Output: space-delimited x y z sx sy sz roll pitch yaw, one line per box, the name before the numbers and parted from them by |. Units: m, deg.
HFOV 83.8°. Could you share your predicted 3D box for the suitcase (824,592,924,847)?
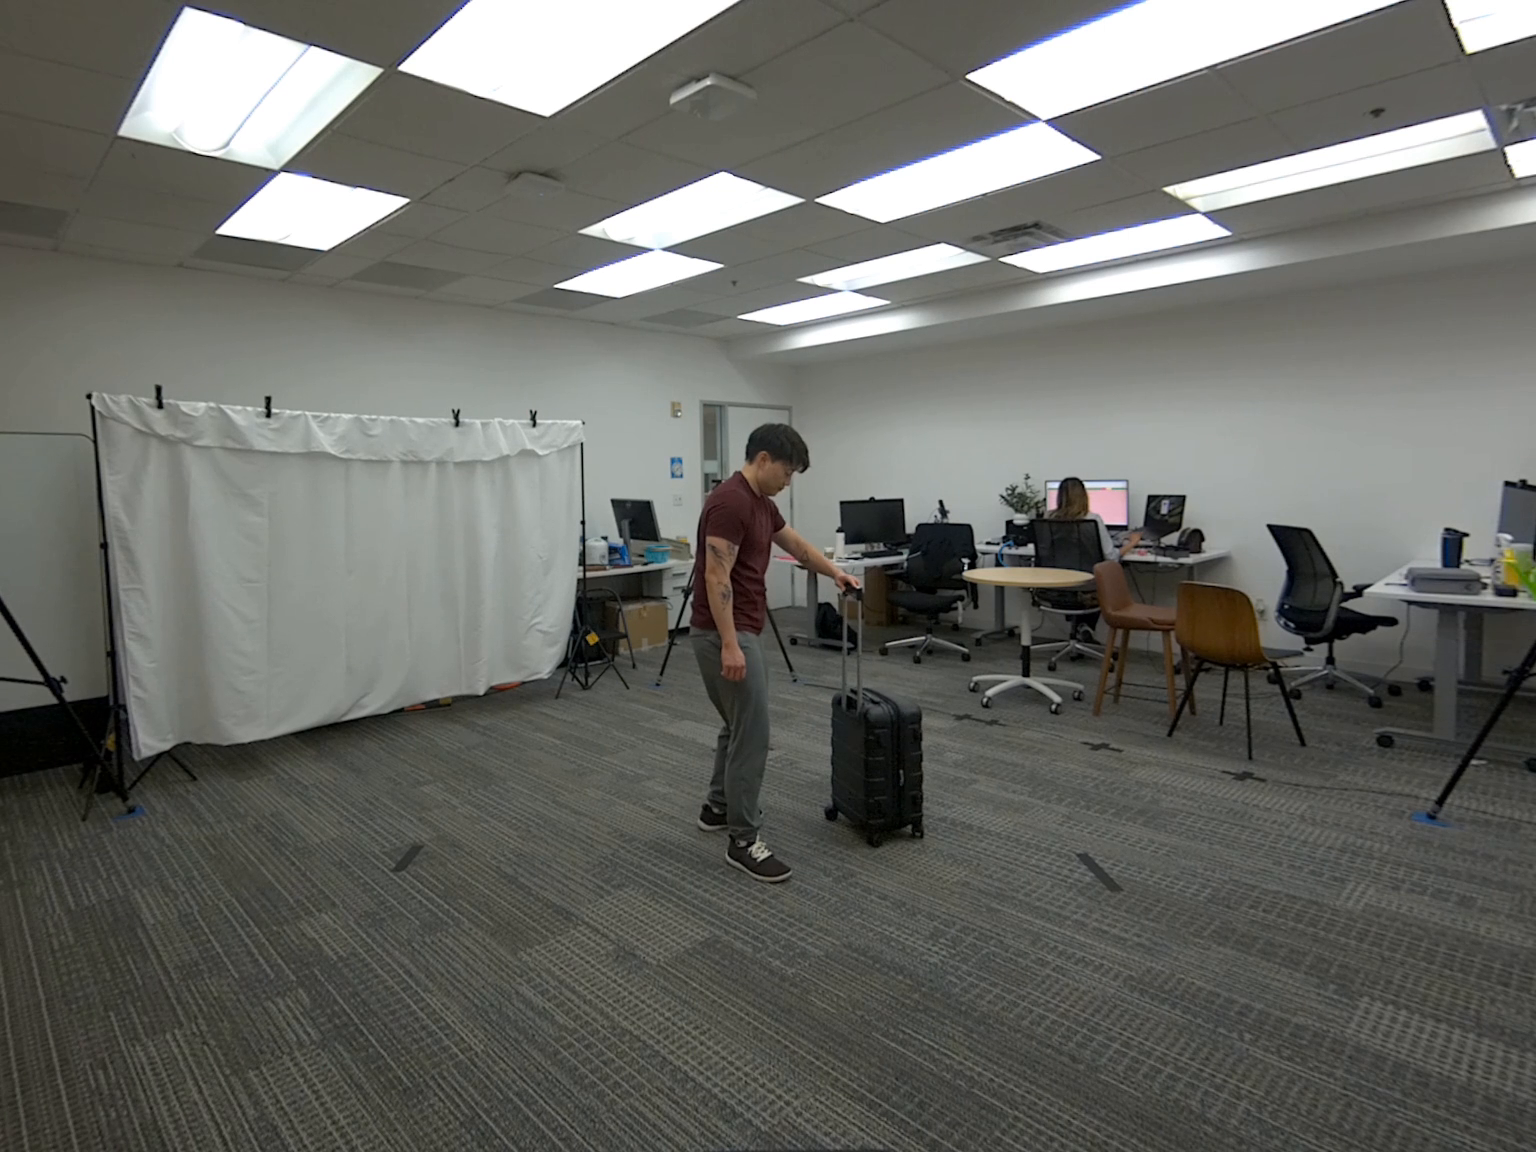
suitcase | 0.438 0.529 3.386 0.253 0.976 0.392 1 4 -19
